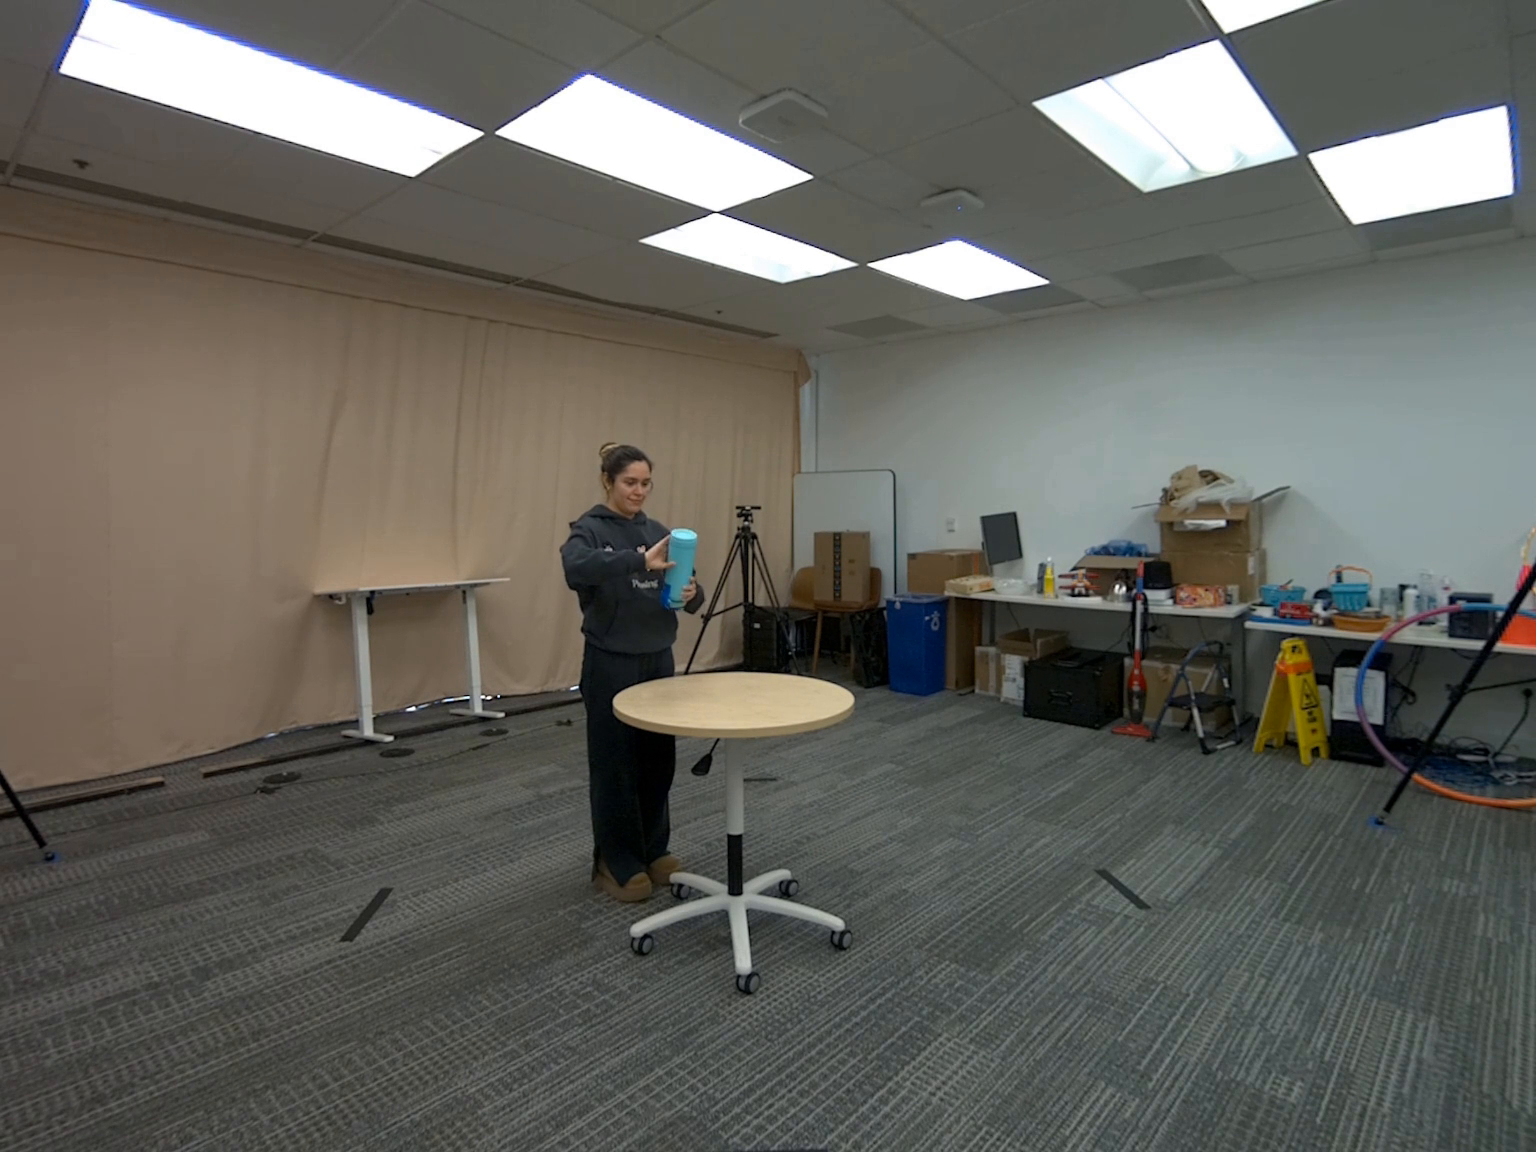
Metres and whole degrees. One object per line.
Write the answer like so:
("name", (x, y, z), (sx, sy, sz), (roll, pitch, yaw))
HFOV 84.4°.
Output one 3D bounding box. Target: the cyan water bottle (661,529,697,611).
("cyan water bottle", (-0.298, -0.012, 2.826), (0.092, 0.281, 0.093), (8, 22, -5))
